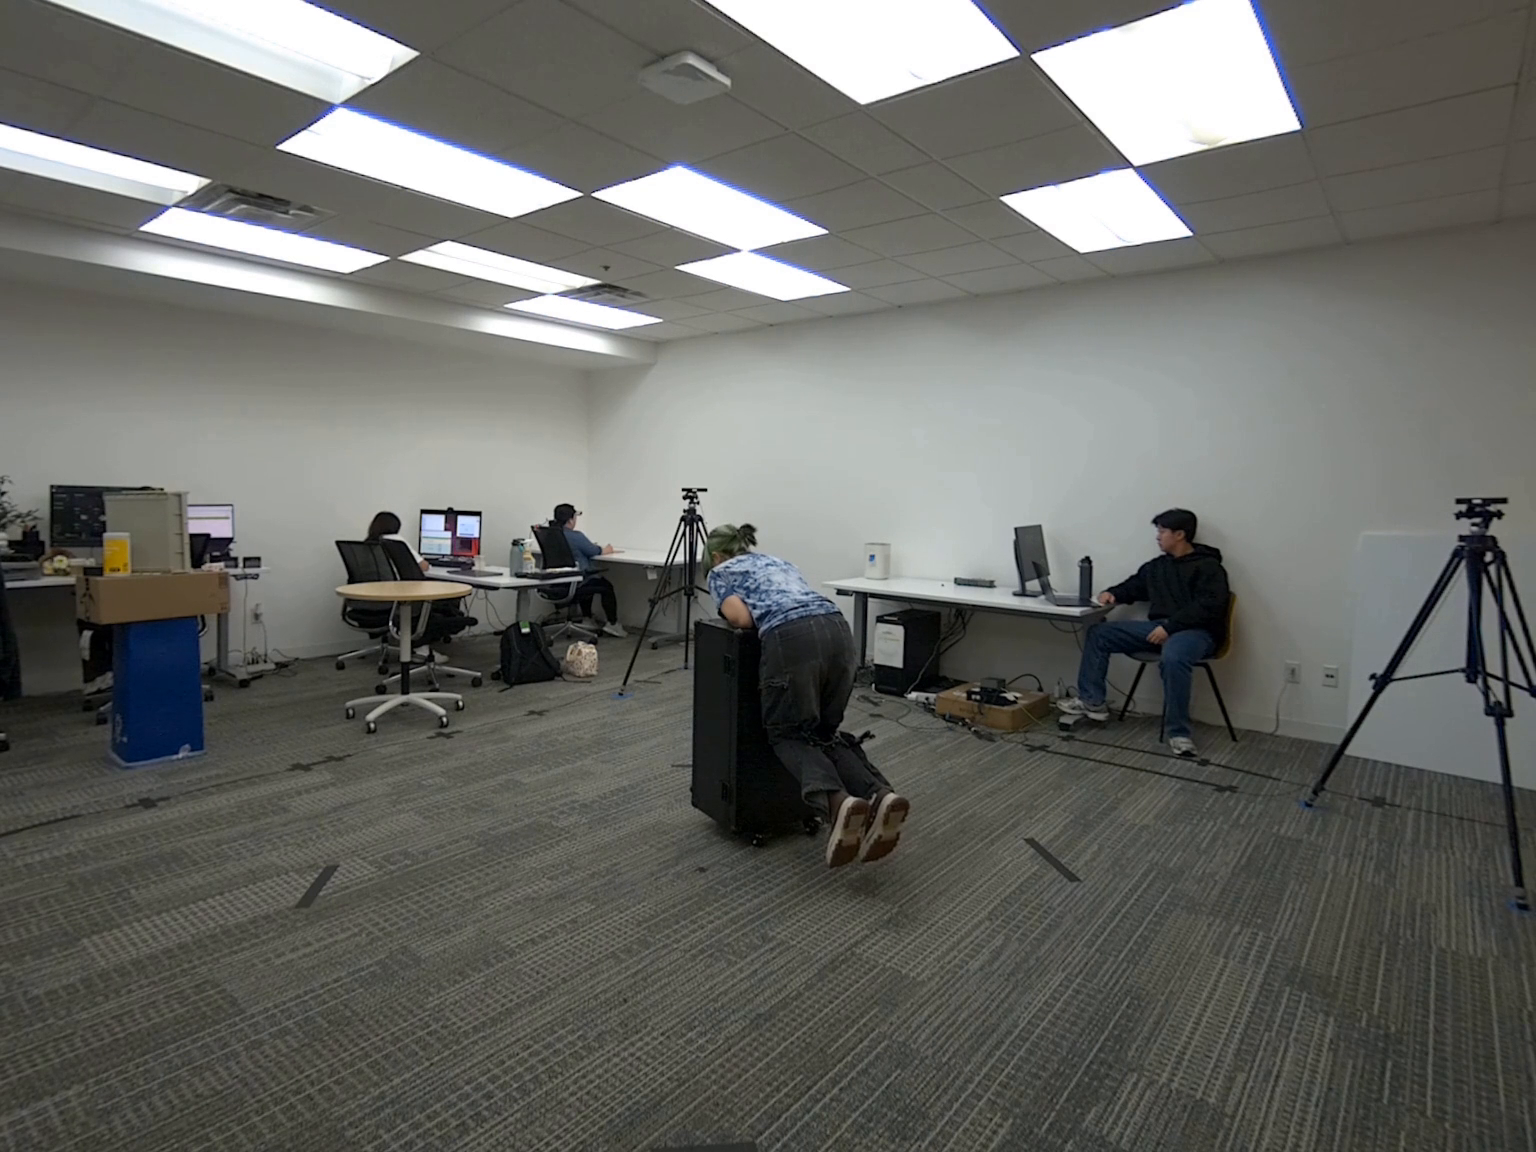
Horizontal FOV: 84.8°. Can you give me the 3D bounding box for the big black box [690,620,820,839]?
[{"bbox_3d":[-0.032,0.557,3.515,0.507,0.860,0.408,-1,3,-32],"label":"big black box"}]
